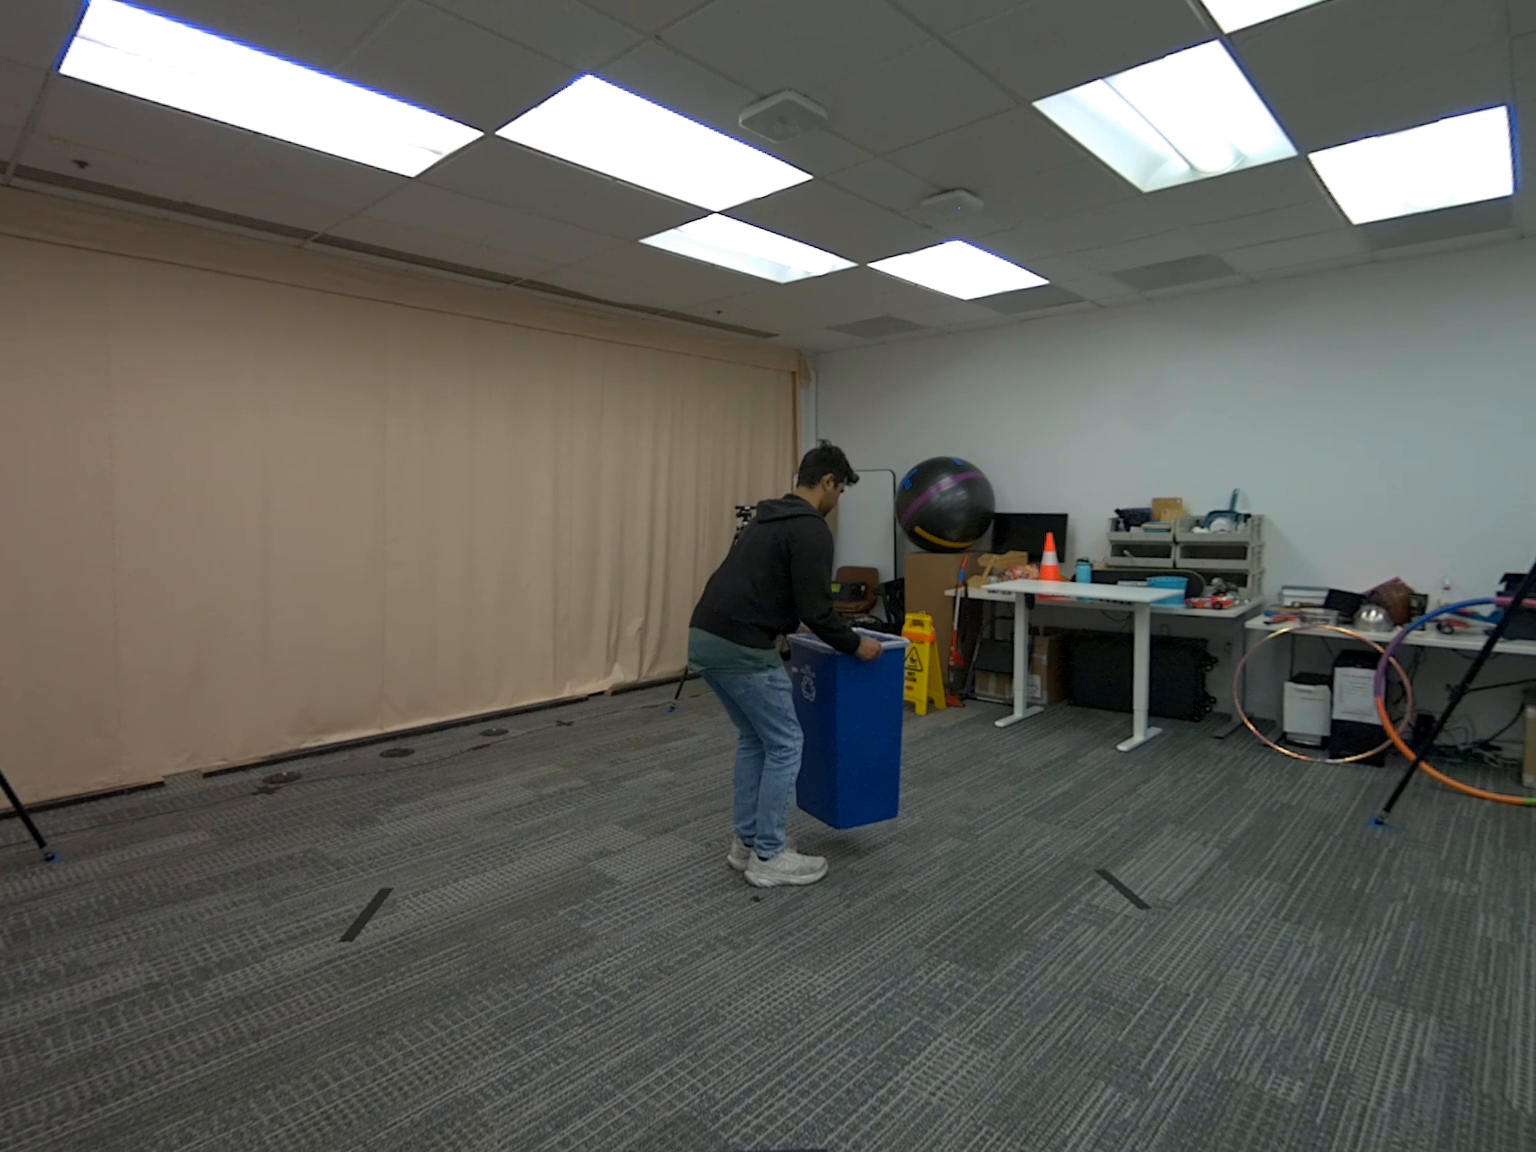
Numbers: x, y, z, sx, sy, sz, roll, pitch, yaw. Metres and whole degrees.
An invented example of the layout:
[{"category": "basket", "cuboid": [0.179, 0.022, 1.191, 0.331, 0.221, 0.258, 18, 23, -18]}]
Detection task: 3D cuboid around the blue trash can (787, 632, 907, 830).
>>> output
[{"category": "blue trash can", "cuboid": [0.327, 0.599, 3.396, 0.368, 0.712, 0.385, -3, 4, -30]}]
